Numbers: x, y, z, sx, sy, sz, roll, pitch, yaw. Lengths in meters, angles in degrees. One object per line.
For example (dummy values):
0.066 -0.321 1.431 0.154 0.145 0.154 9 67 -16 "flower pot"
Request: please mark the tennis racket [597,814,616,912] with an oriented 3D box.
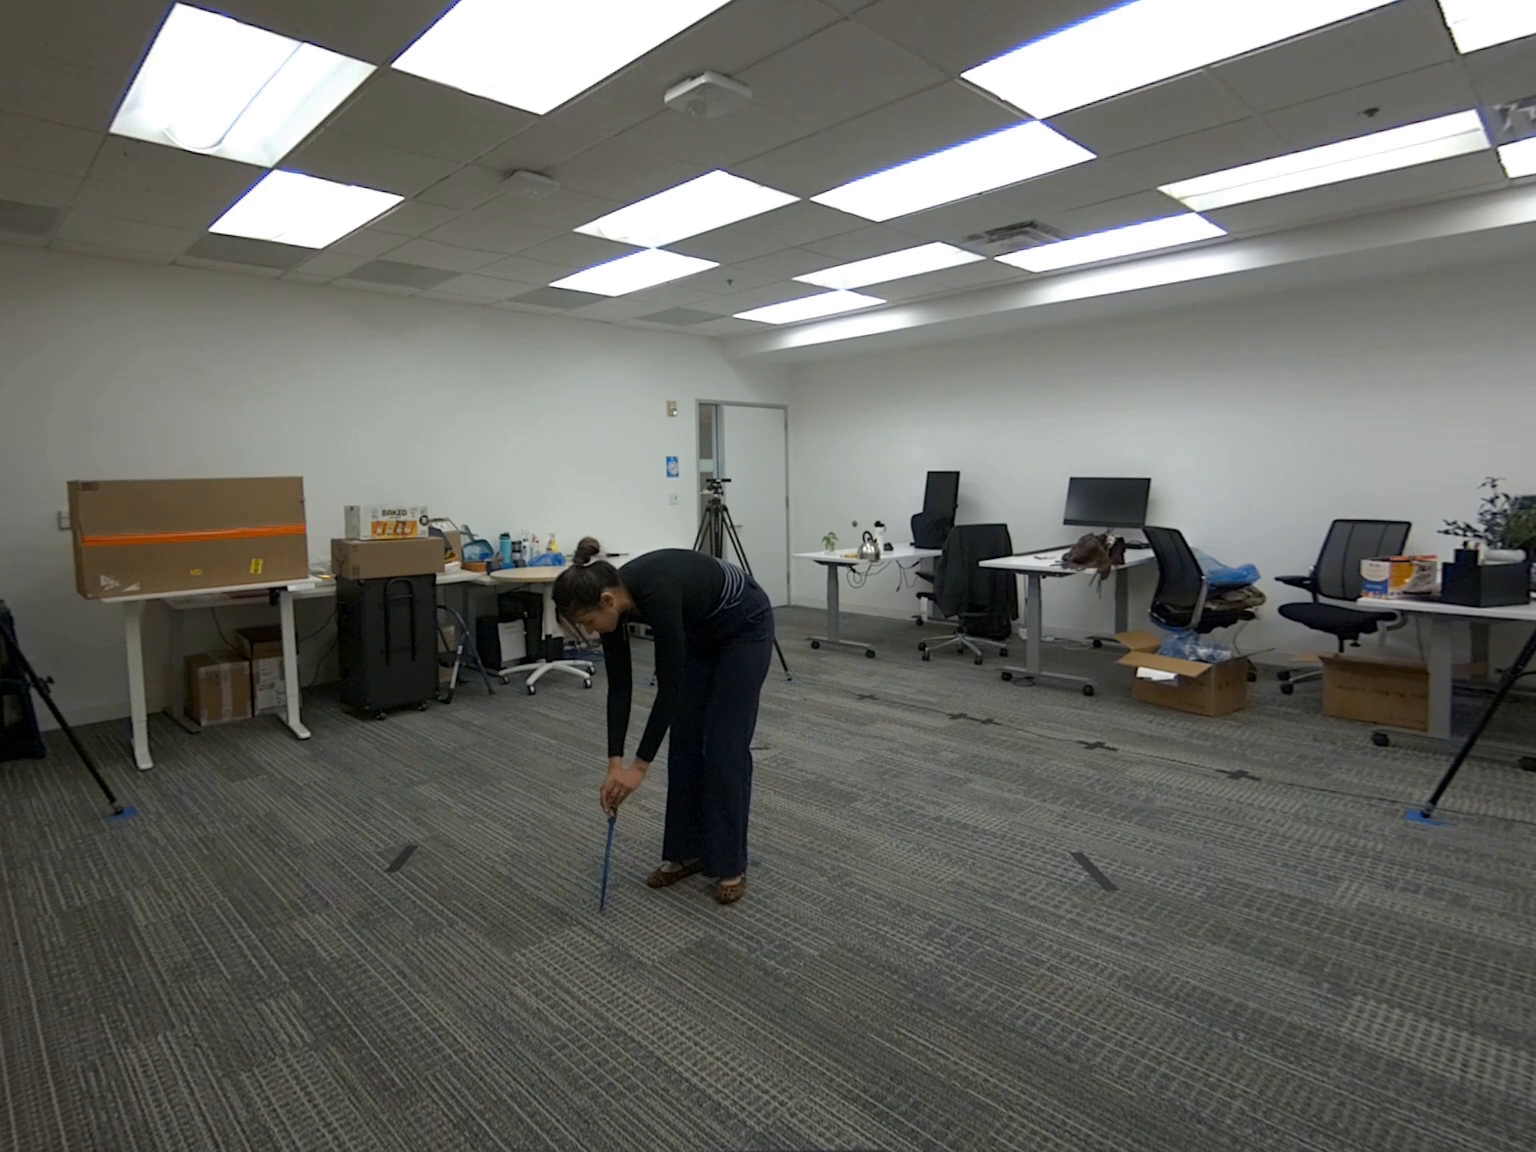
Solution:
-0.511 0.879 2.774 0.031 0.427 0.218 7 17 -8 "tennis racket"
